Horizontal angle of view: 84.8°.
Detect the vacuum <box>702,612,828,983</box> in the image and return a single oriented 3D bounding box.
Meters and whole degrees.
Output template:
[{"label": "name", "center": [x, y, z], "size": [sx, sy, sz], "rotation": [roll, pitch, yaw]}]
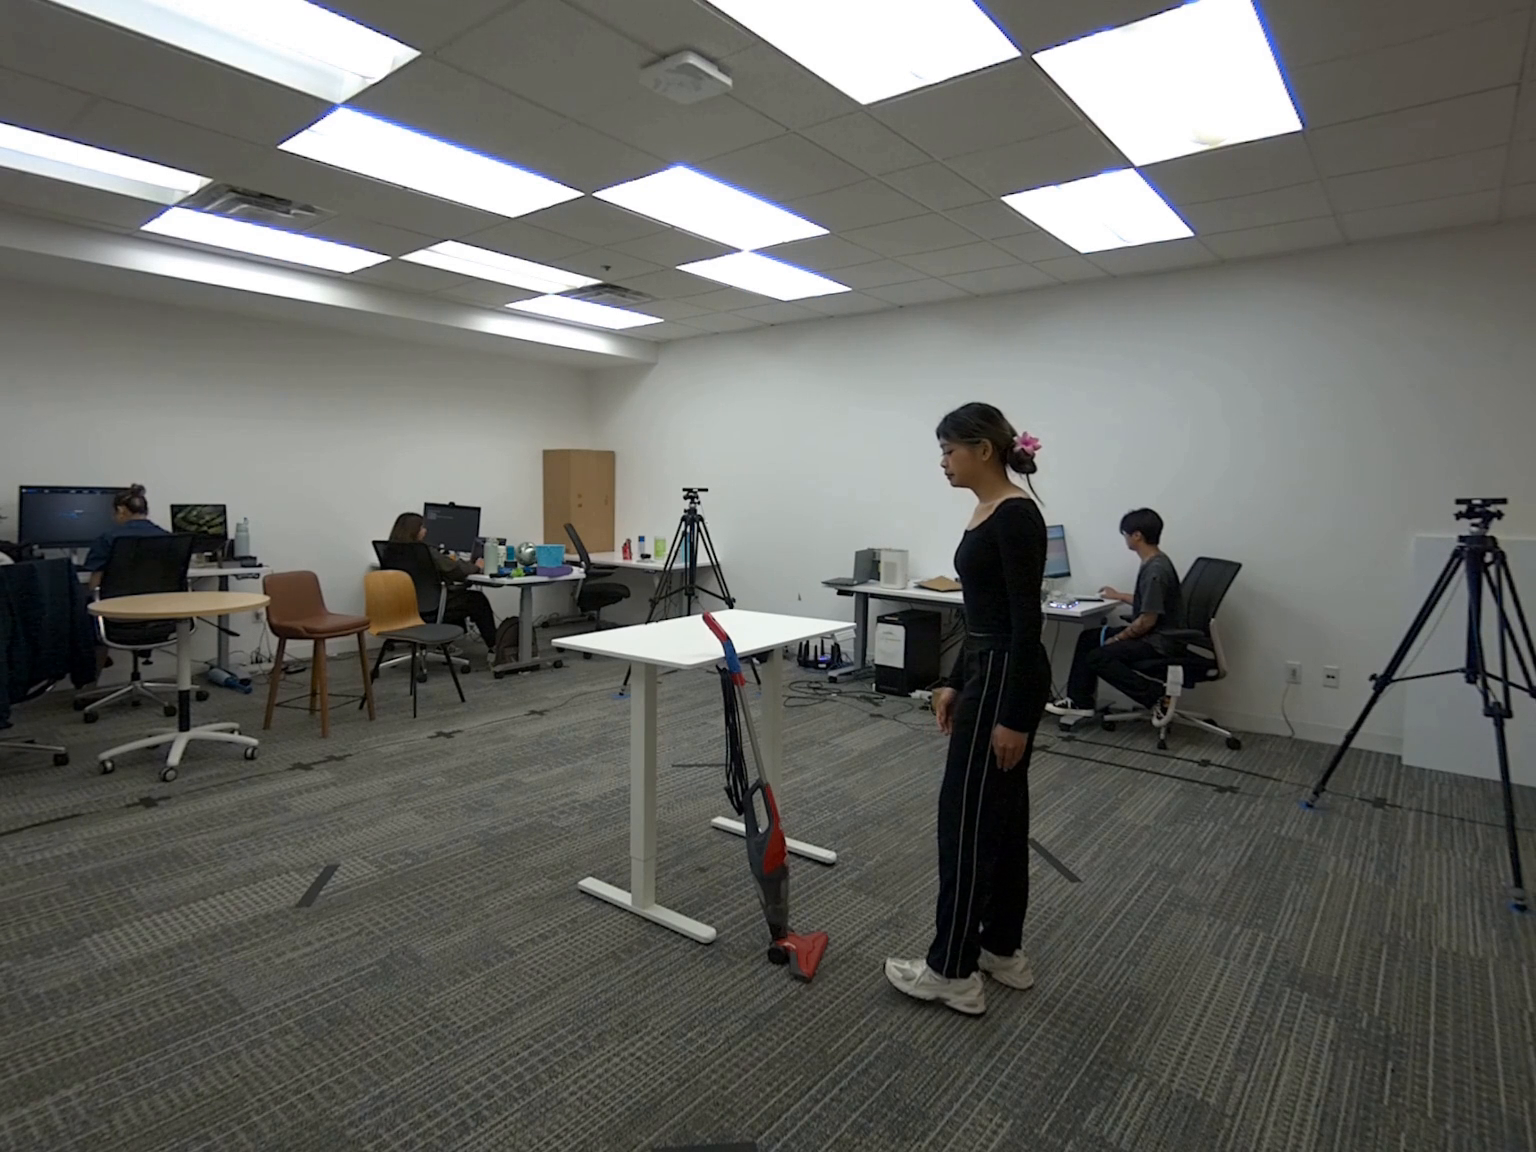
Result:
[{"label": "vacuum", "center": [-0.057, 0.631, 2.562], "size": [0.146, 1.054, 0.247], "rotation": [-17, -4, 21]}]
